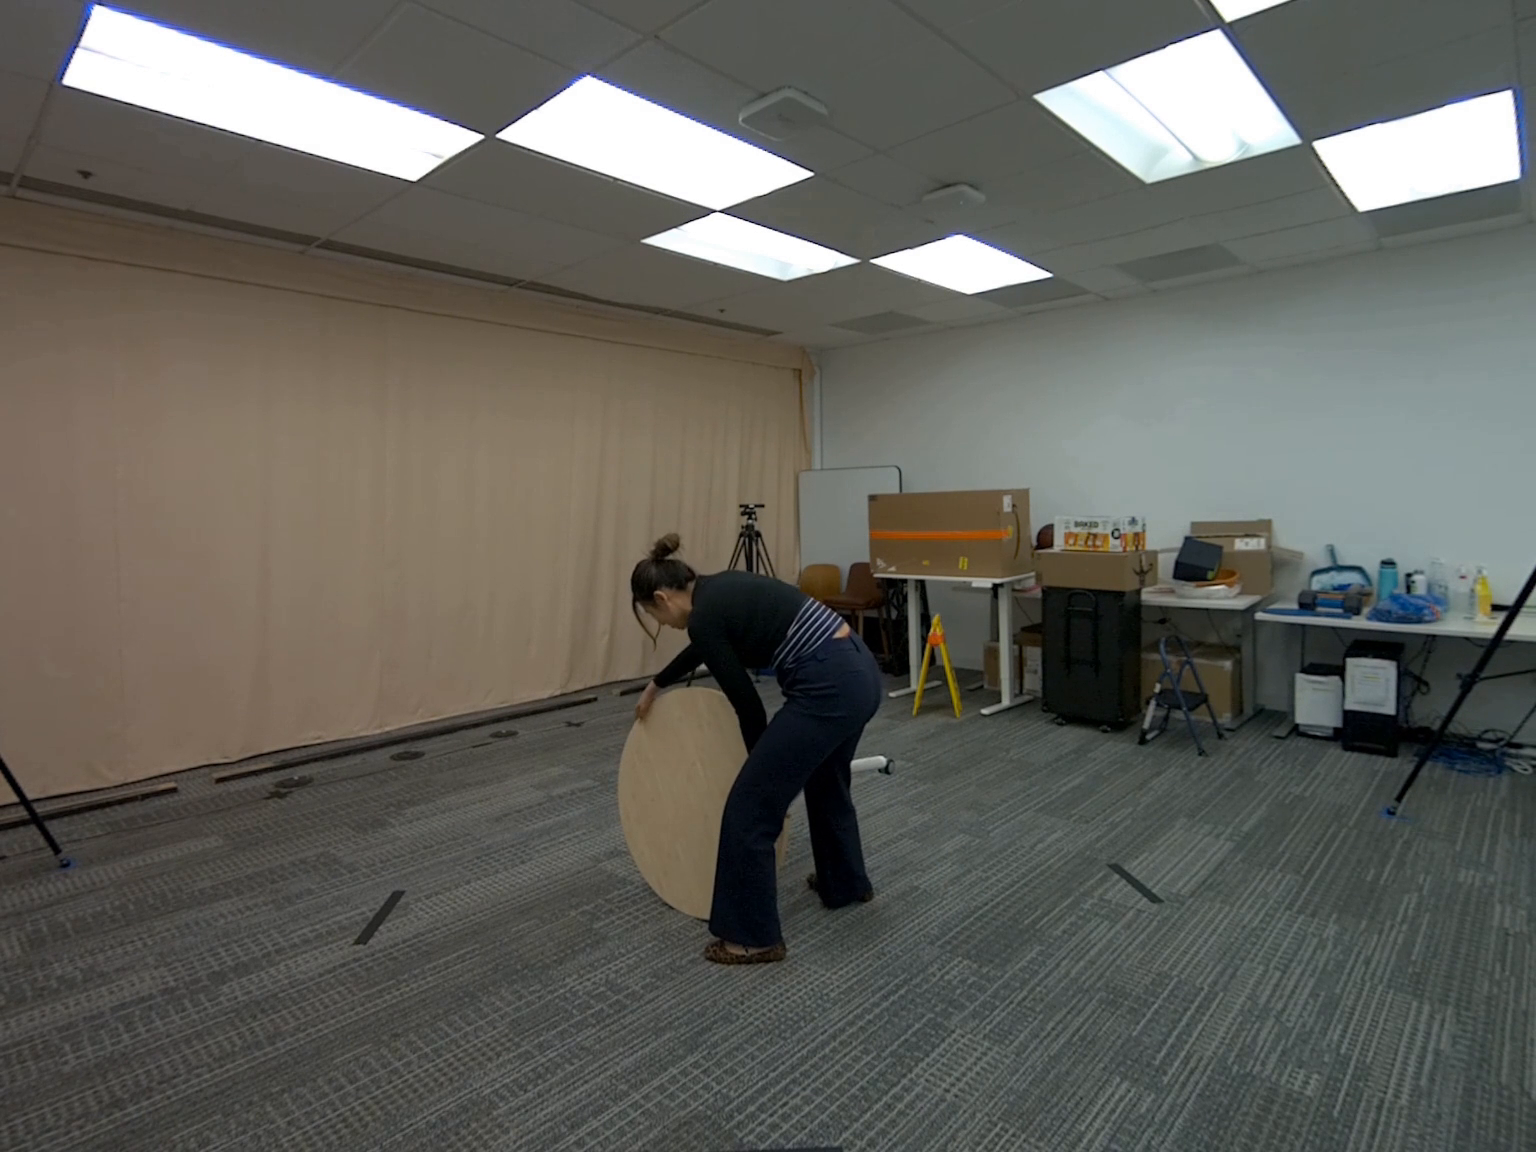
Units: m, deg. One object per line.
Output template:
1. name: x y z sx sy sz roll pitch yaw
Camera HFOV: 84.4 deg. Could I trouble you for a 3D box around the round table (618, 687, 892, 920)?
1. round table: -0.012 0.793 3.182 0.789 0.765 0.768 2 -2 39
